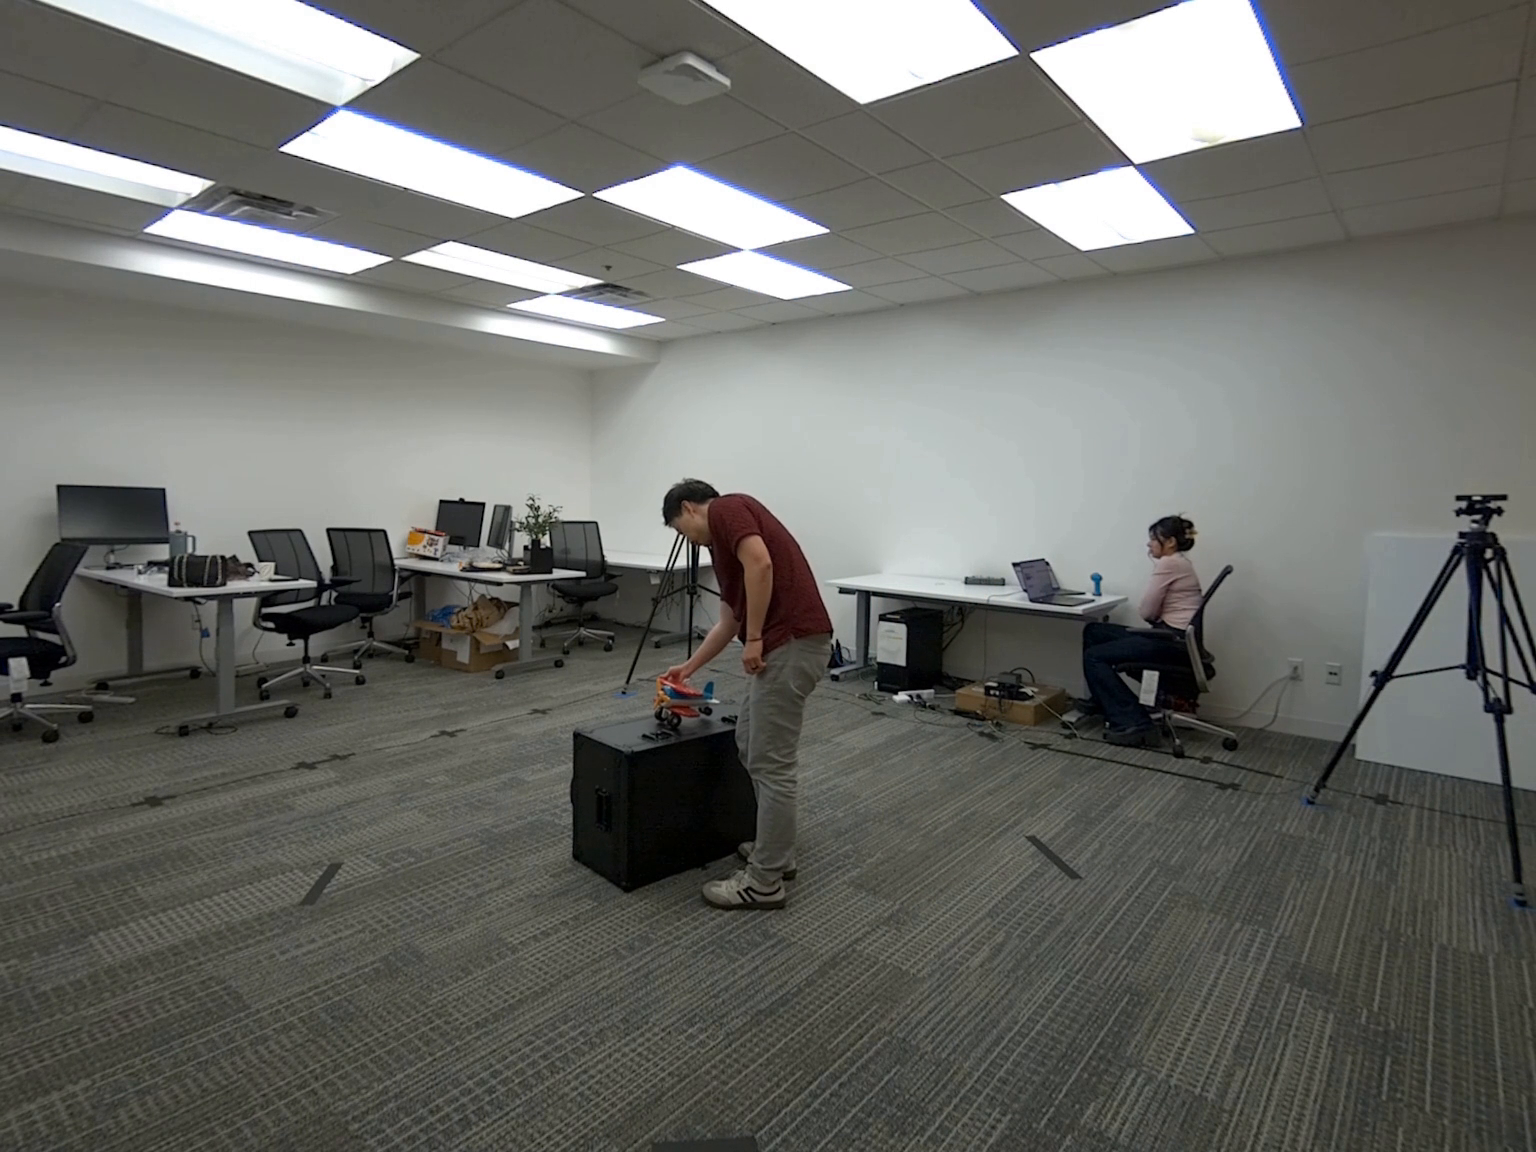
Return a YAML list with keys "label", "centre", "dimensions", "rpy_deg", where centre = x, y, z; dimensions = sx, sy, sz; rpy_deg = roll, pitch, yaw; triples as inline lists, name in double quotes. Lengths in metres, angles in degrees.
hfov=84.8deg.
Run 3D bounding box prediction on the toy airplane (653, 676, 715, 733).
- label: "toy airplane"
  centre: [-0.339, 0.479, 3.309]
  dimensions: [0.257, 0.155, 0.255]
  rpy_deg: [2, 11, 24]
